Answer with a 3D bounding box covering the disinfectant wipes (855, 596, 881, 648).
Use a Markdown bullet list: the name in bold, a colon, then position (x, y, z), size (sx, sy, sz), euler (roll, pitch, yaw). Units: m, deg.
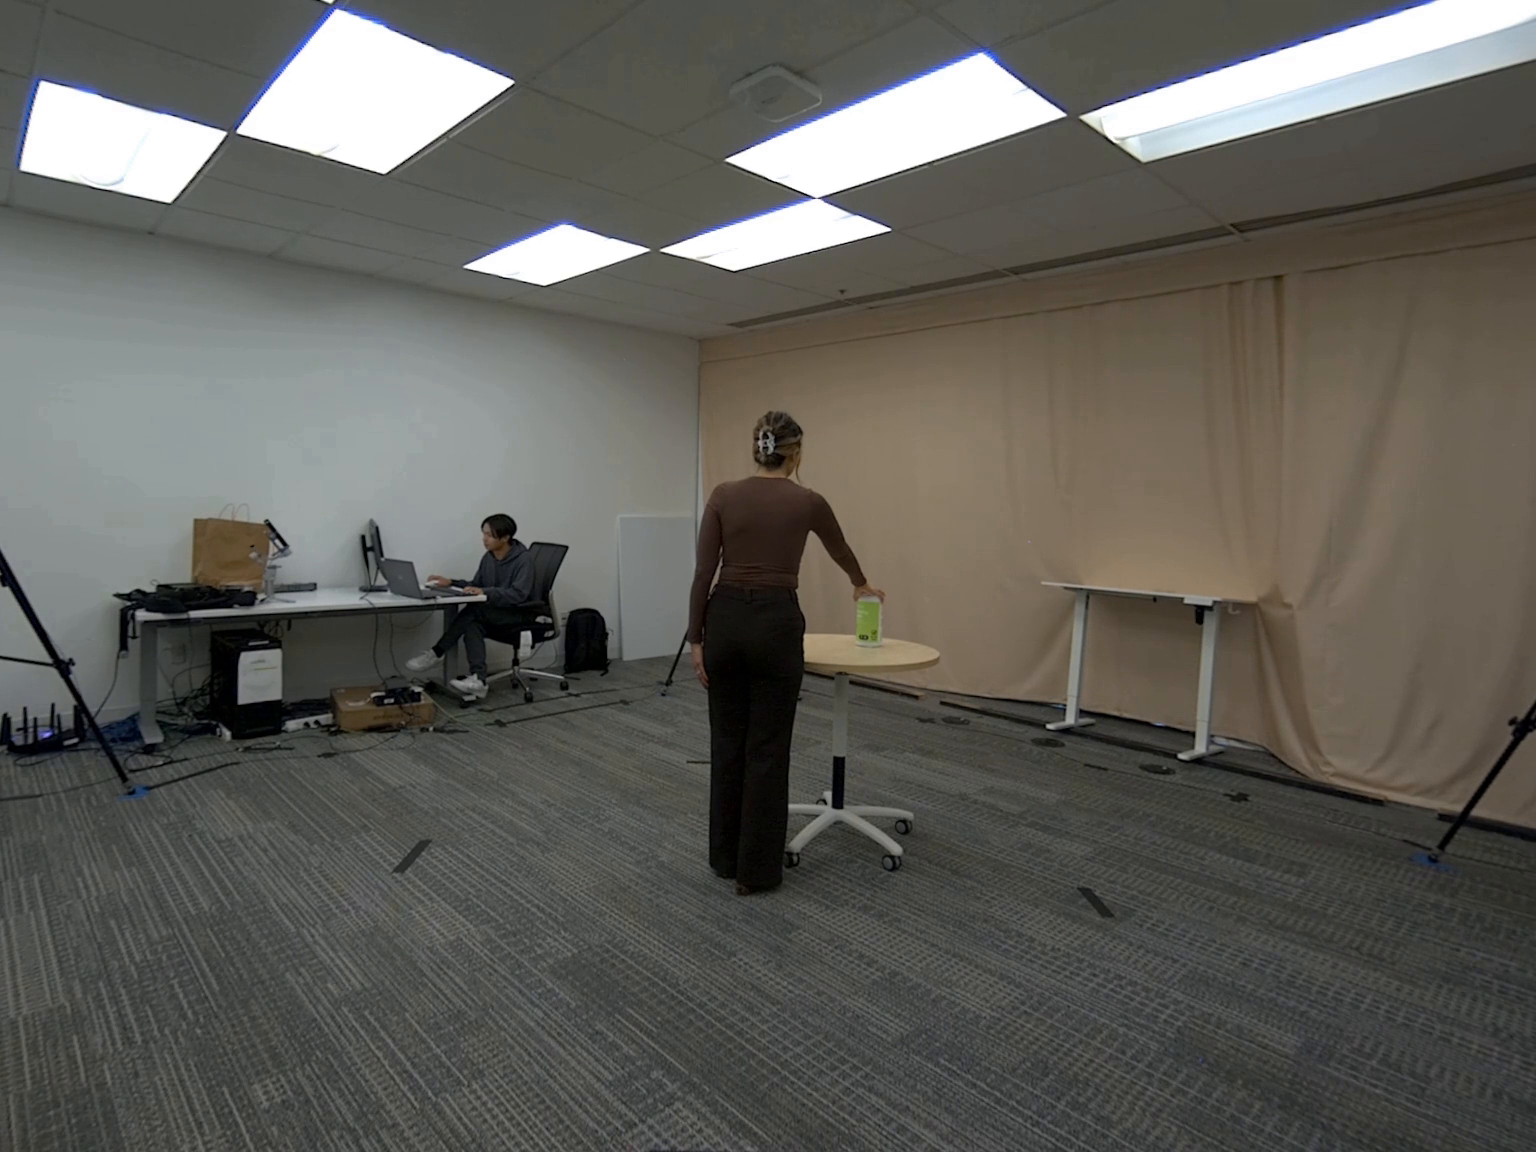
- **disinfectant wipes**: position (0.415, 0.182, 3.504), size (0.118, 0.217, 0.118), euler (0, 4, -1)
